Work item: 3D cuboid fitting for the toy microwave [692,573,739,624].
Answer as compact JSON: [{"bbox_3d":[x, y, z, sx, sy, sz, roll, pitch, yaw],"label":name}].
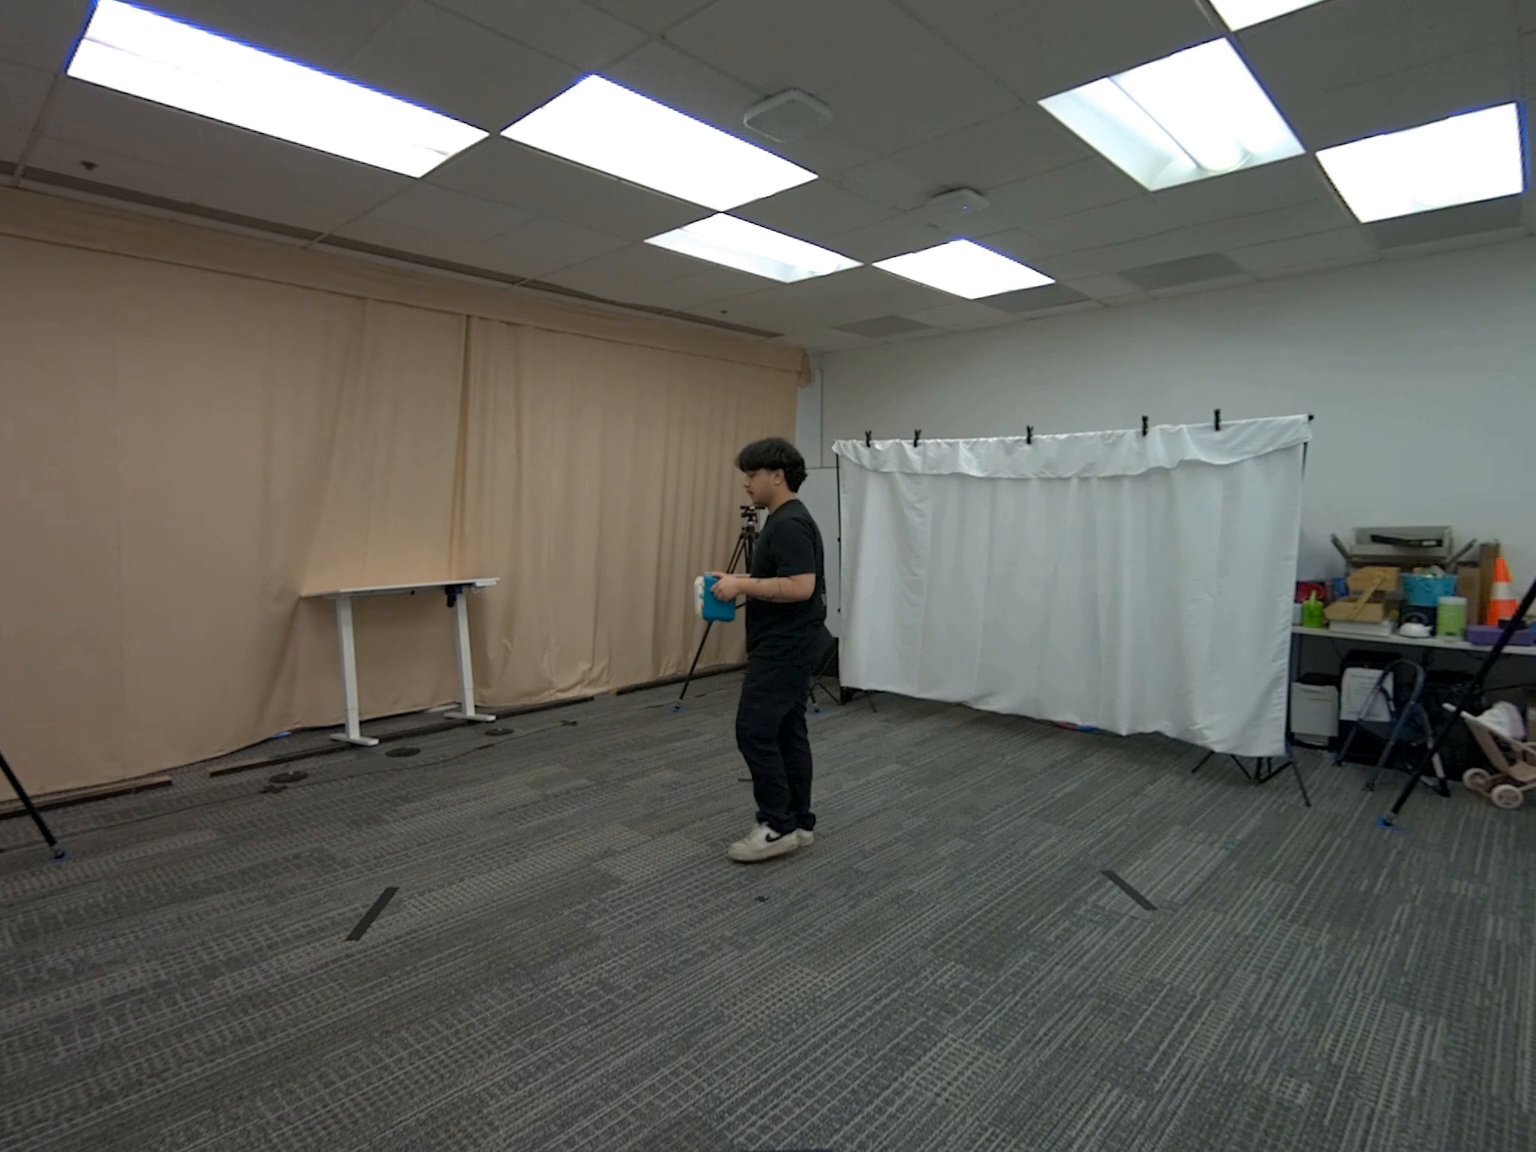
[{"bbox_3d":[-0.215,0.088,3.441,0.151,0.184,0.288,4,-2,-10],"label":"toy microwave"}]
